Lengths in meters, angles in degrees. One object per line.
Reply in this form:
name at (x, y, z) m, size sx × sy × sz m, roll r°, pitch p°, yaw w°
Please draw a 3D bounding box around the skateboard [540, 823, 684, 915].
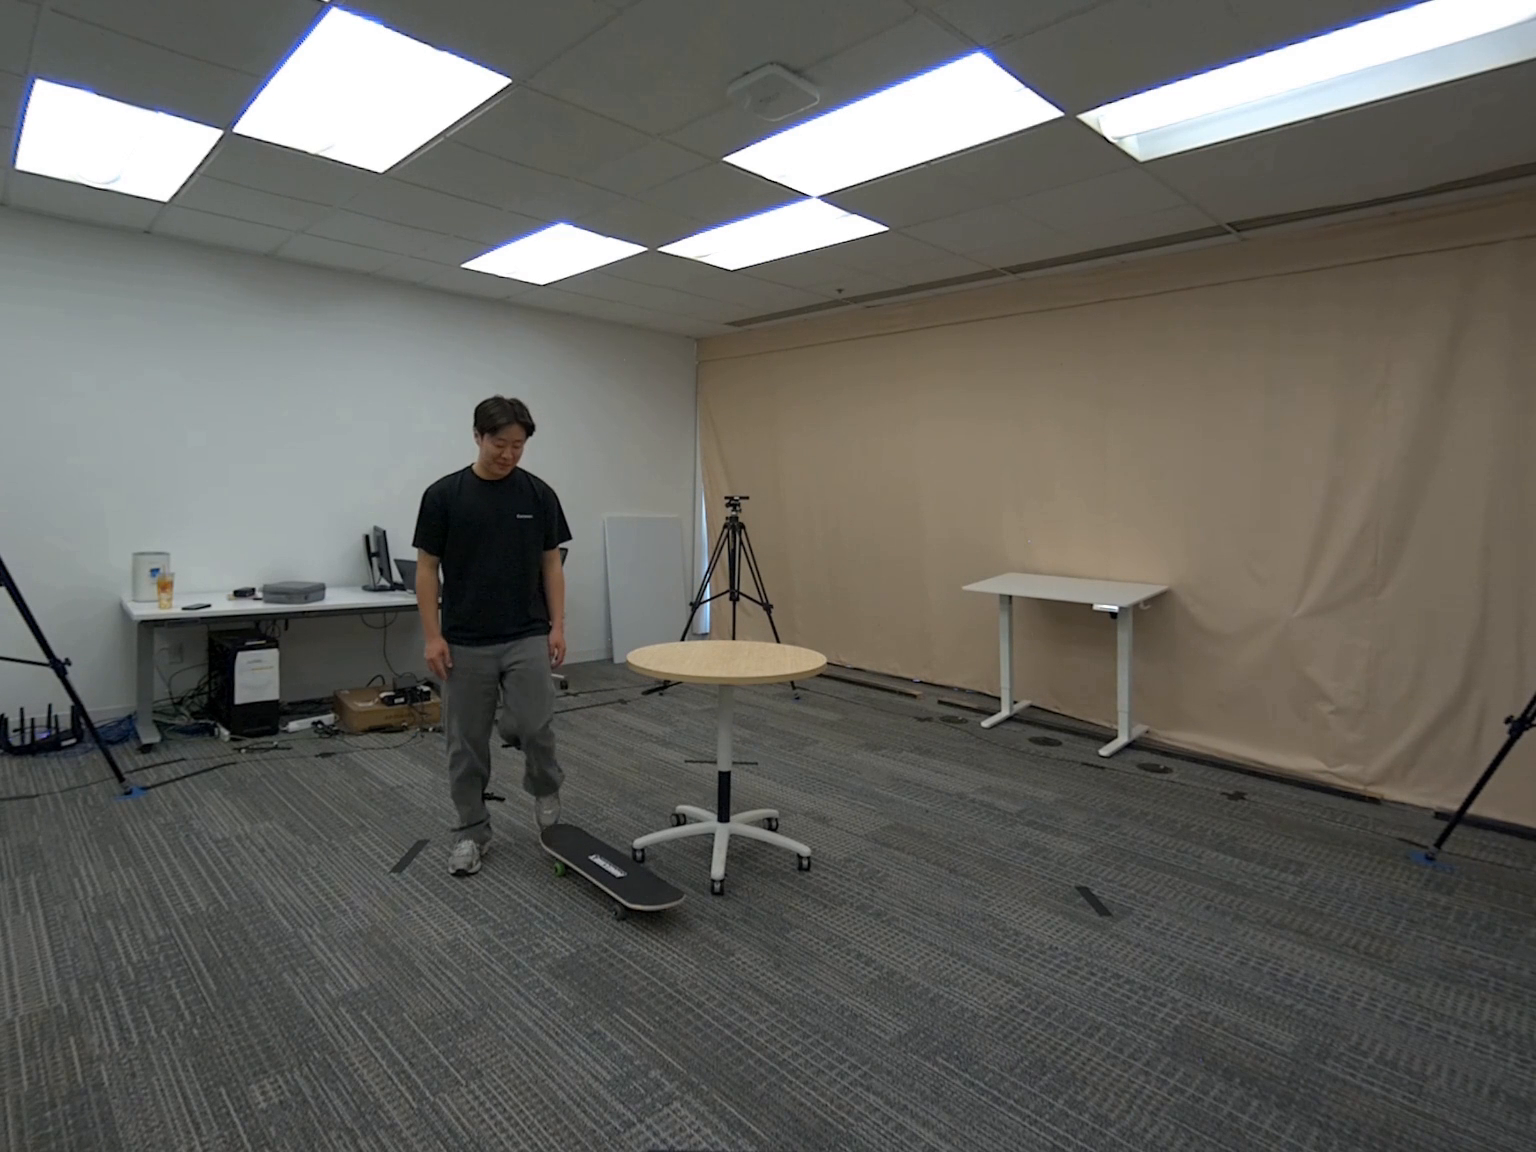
skateboard at (-0.583, 1.059, 2.965) m, size 0.189 × 0.110 × 0.806 m, roll -2°, pitch 6°, yaw -41°
